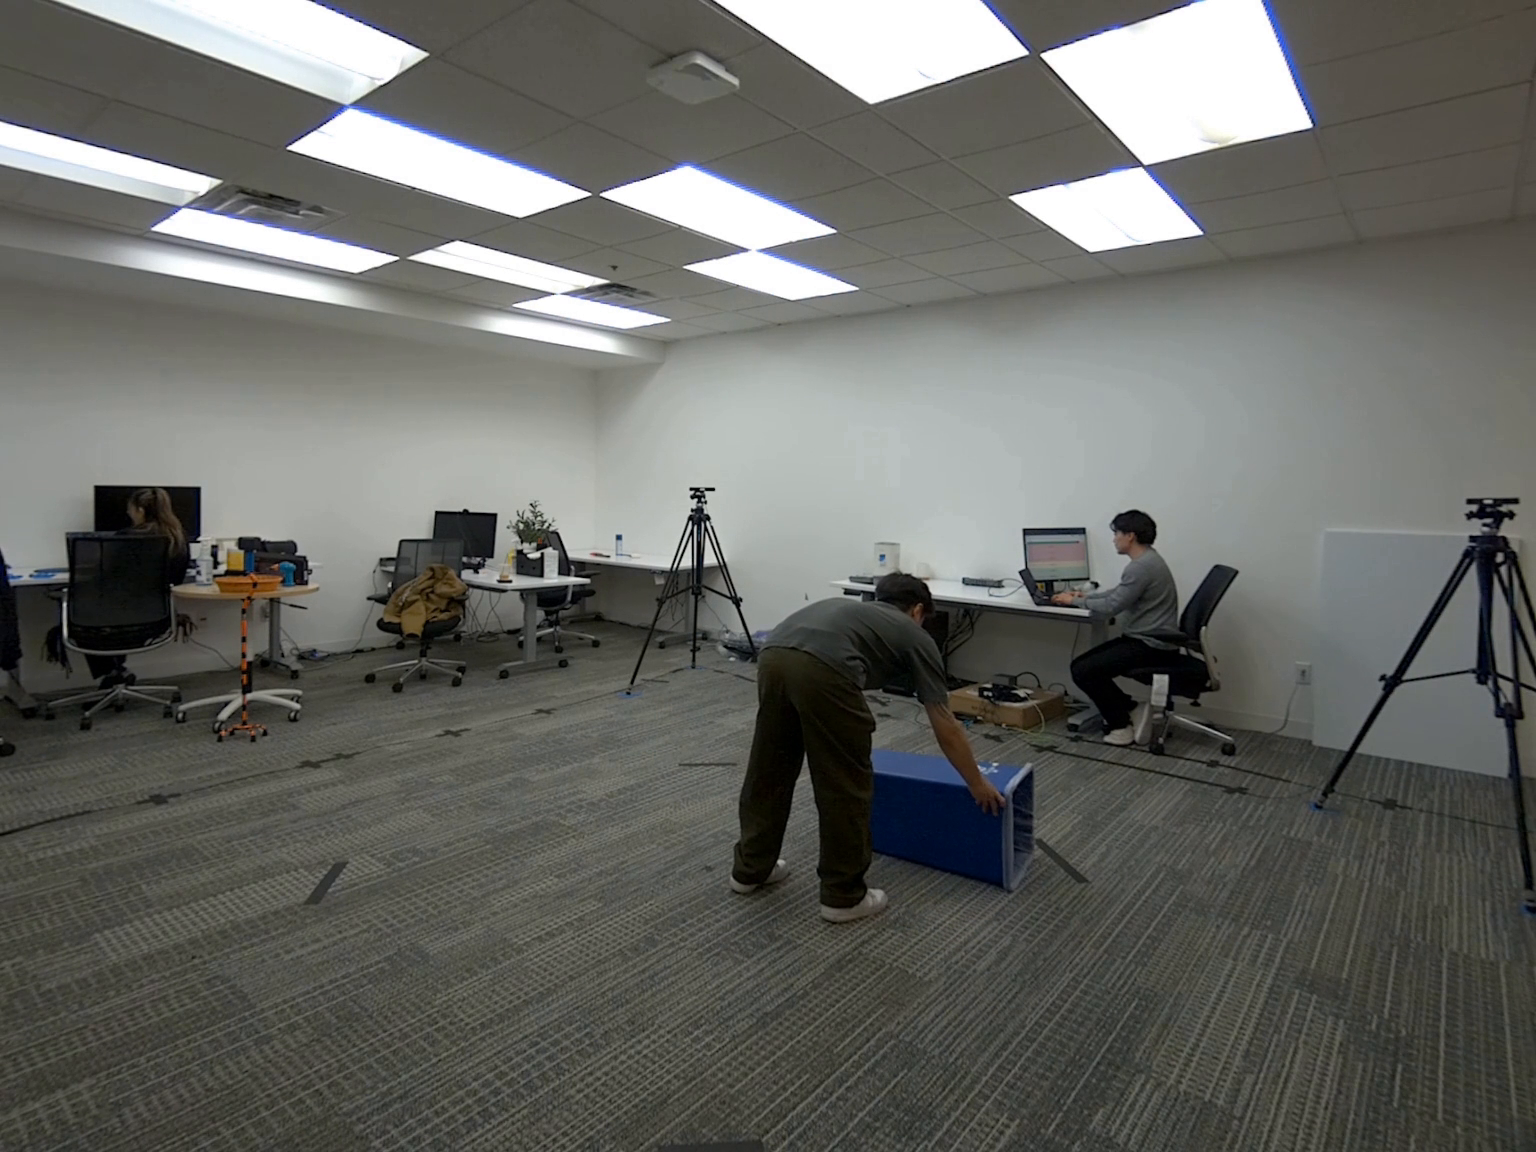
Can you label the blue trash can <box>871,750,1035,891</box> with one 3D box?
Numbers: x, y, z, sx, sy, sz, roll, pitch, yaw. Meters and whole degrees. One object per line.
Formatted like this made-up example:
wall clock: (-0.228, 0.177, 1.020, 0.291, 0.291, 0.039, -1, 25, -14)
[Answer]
blue trash can: (0.624, 0.891, 3.309, 0.735, 0.373, 0.368, 2, 5, 31)
